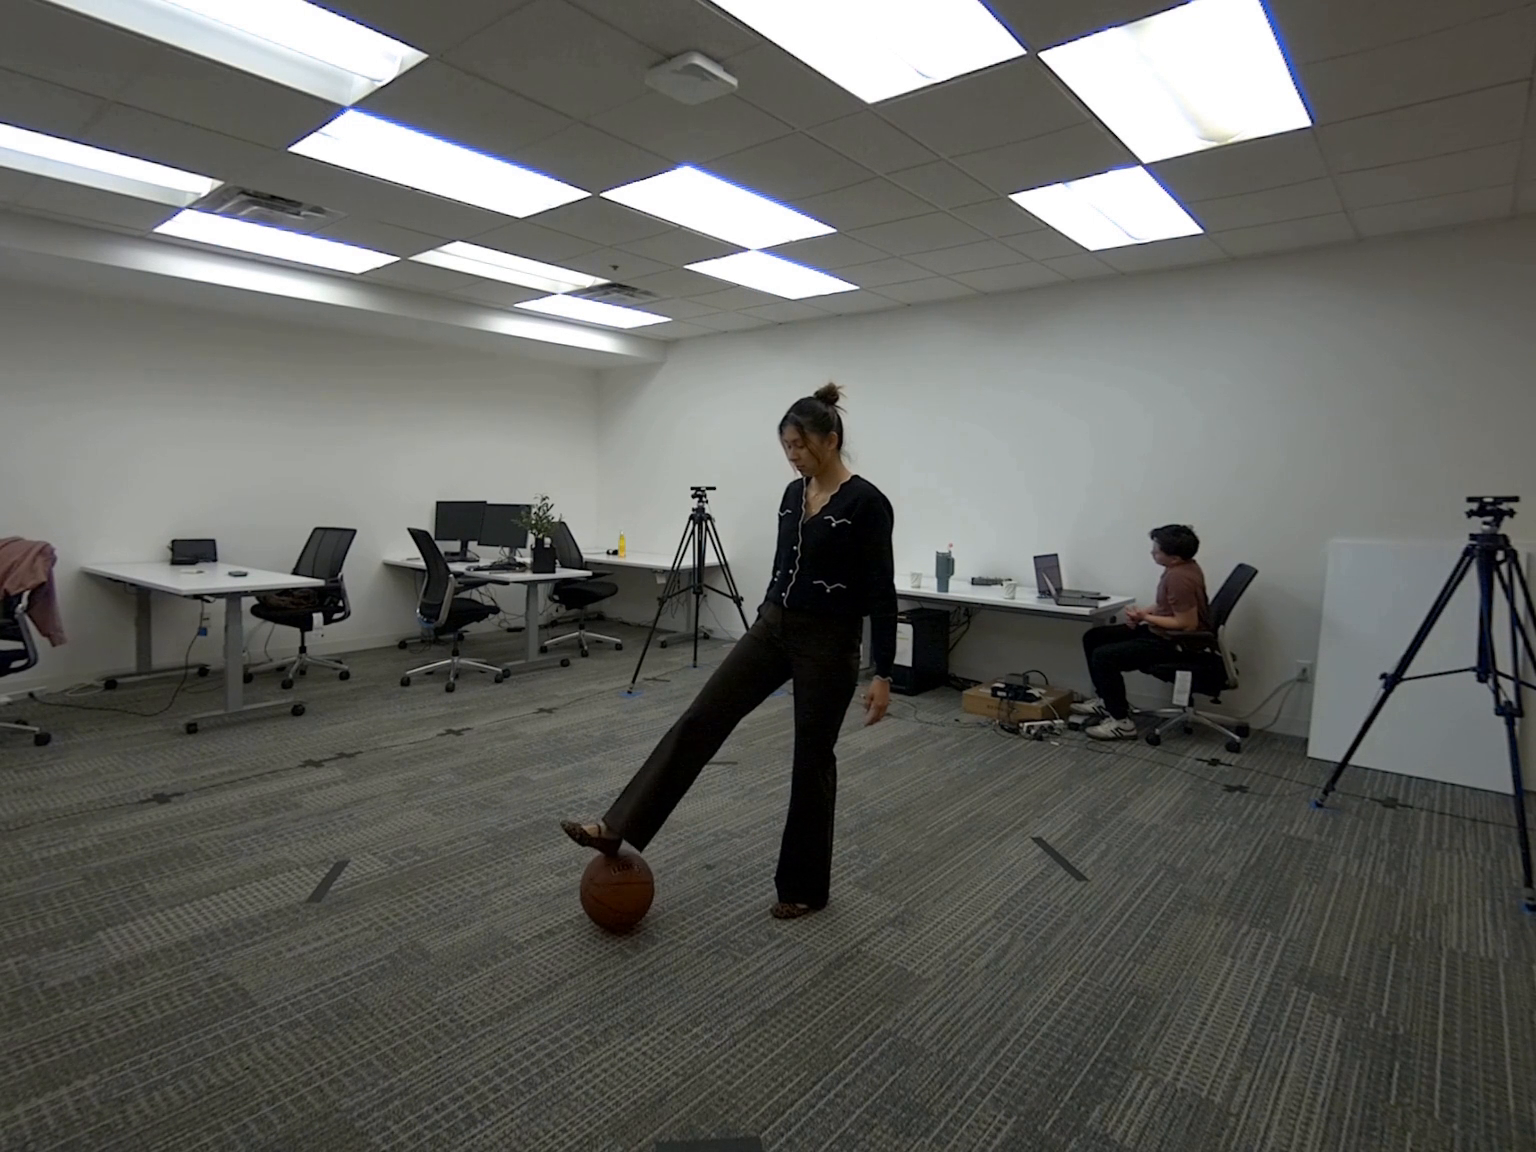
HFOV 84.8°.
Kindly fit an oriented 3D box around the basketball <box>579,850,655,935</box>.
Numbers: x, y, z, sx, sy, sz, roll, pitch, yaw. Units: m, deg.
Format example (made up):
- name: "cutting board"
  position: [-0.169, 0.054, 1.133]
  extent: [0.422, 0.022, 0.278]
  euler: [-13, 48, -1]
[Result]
- name: "basketball"
  position: [-0.475, 0.988, 2.697]
  extent: [0.235, 0.235, 0.237]
  euler: [1, 4, -2]
